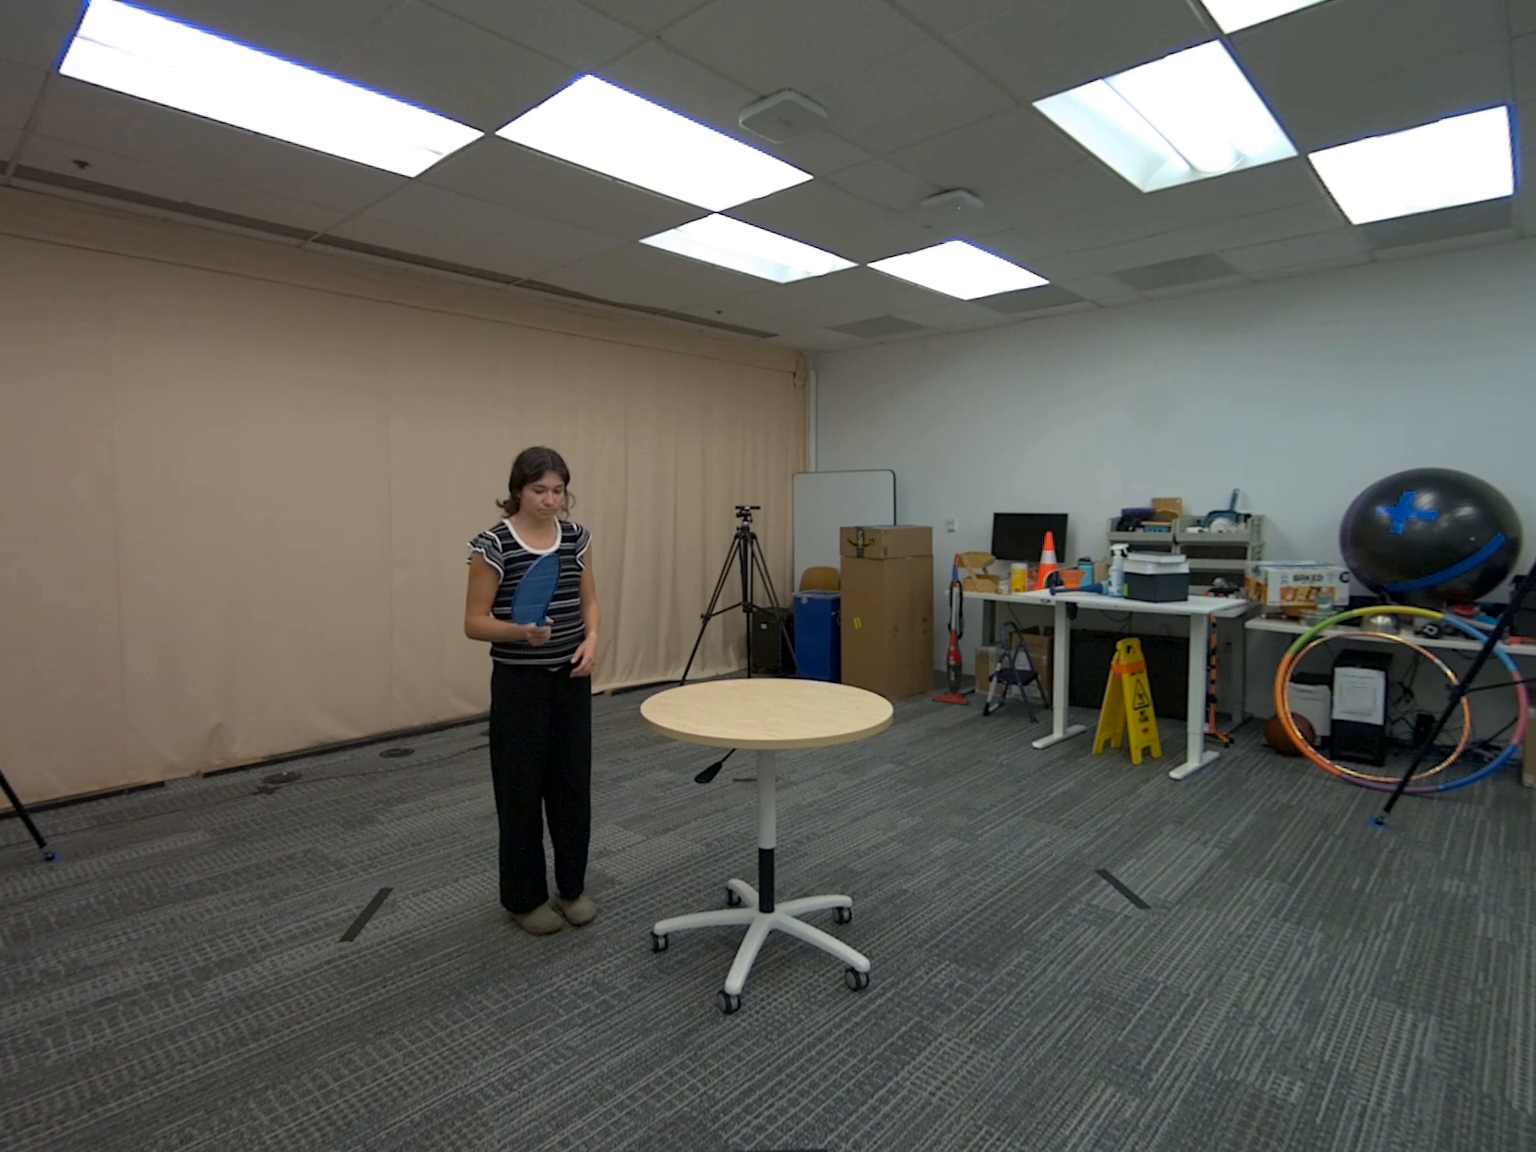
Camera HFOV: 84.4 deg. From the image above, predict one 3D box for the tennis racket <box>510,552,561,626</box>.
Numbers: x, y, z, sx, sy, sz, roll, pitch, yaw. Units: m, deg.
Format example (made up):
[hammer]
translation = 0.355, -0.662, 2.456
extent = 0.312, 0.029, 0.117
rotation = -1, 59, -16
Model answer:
[tennis racket]
translation = -0.659, 0.080, 2.440
extent = 0.032, 0.214, 0.429
rotation = 23, -30, 3
